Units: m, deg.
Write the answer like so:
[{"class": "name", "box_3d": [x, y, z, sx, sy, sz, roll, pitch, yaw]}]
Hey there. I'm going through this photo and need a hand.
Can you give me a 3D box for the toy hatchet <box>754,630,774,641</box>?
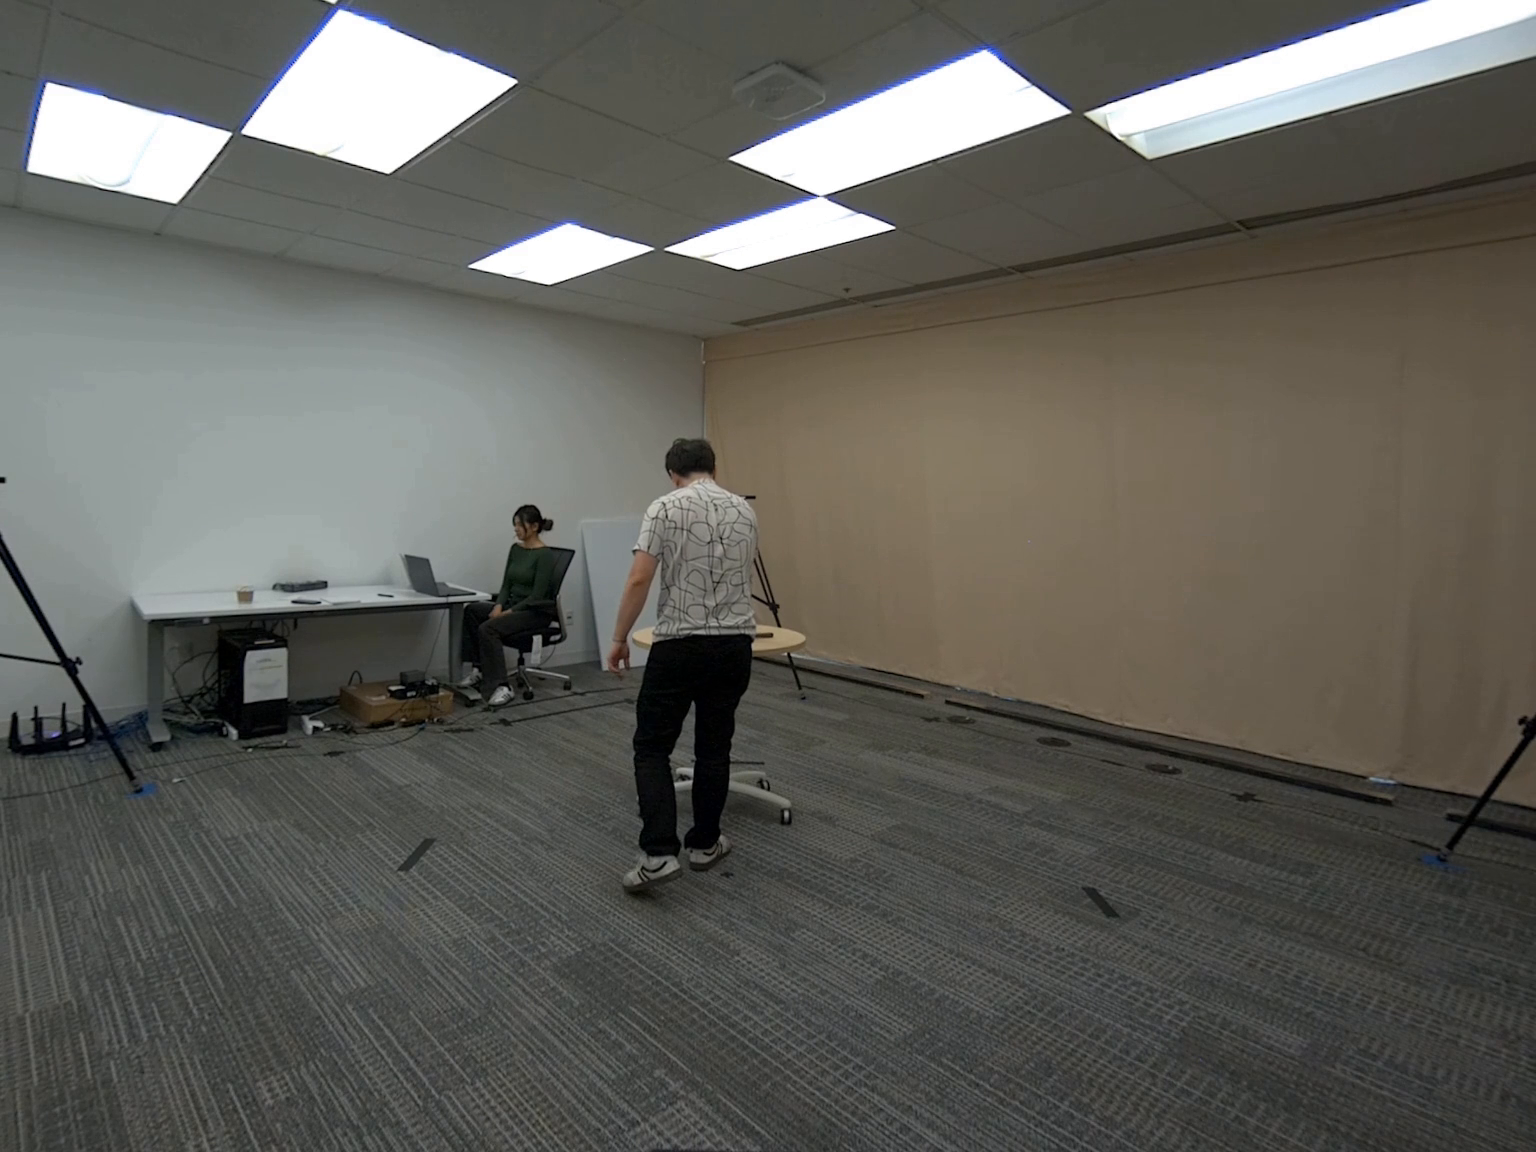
[{"class": "toy hatchet", "box_3d": [-0.130, 0.259, 3.692, 0.265, 0.029, 0.133, 1, 2, -25]}]
